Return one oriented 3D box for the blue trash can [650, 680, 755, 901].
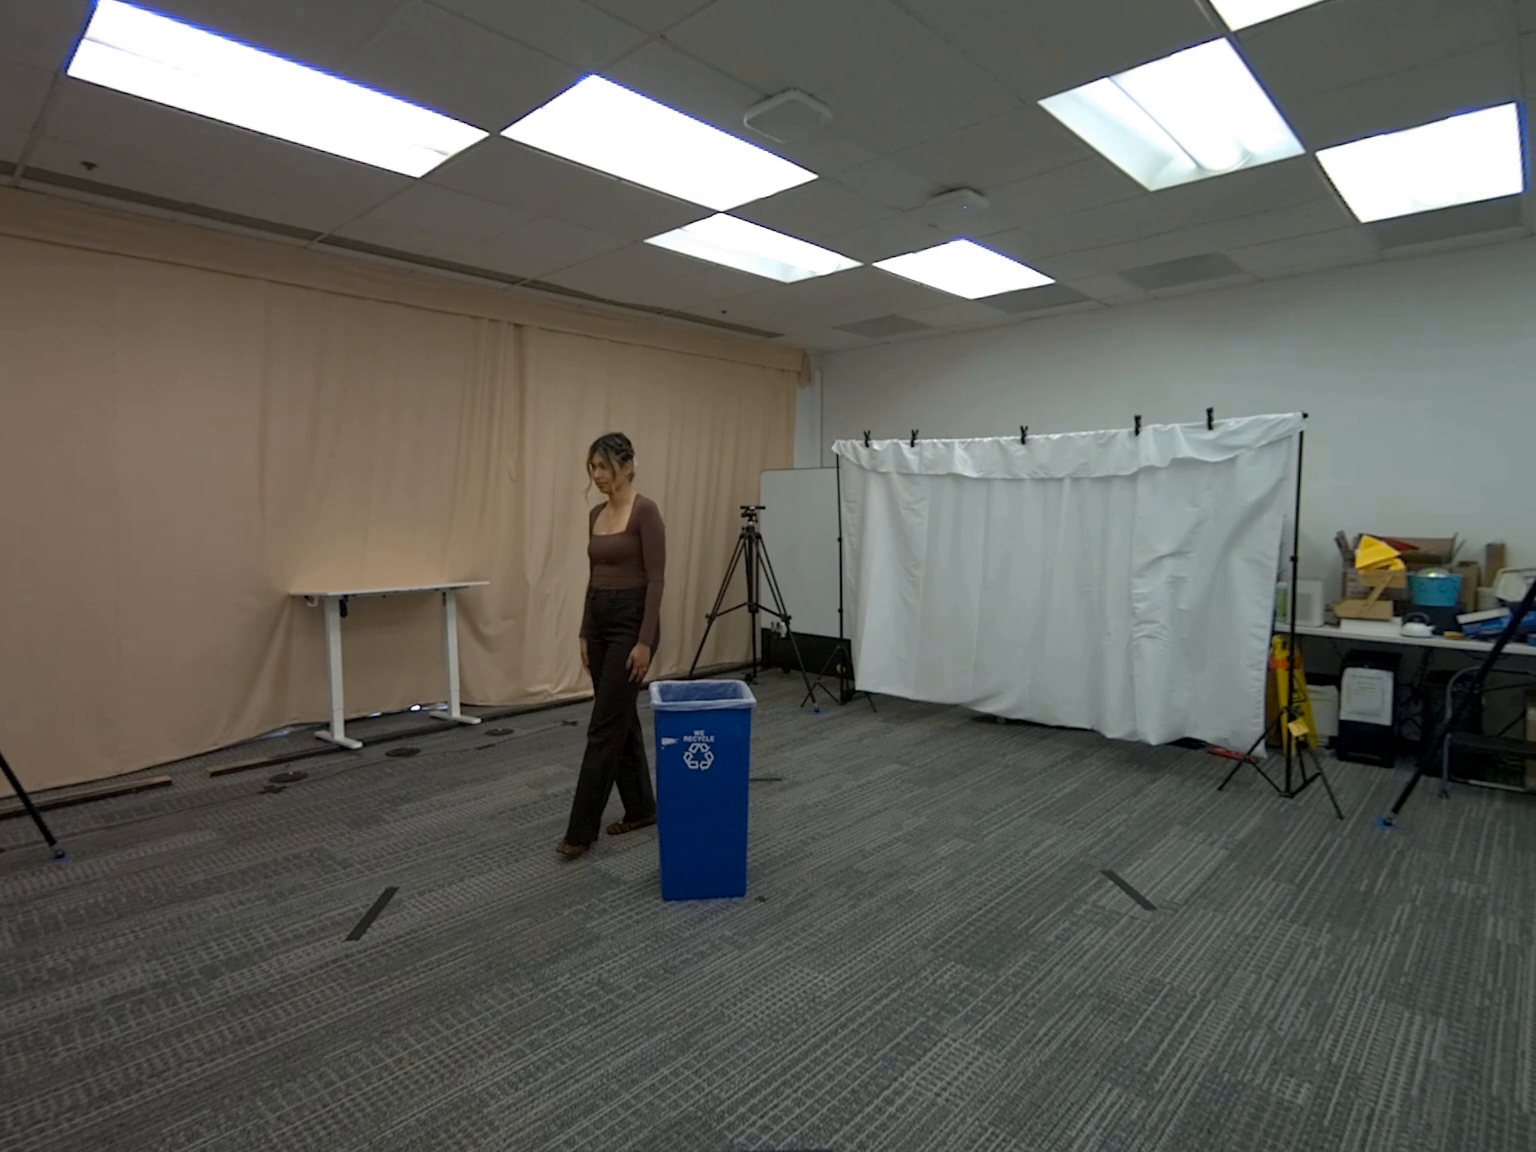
[{"bbox_3d":[-0.241,0.776,3.107,0.375,0.712,0.378,-1,3,-8],"label":"blue trash can"}]
